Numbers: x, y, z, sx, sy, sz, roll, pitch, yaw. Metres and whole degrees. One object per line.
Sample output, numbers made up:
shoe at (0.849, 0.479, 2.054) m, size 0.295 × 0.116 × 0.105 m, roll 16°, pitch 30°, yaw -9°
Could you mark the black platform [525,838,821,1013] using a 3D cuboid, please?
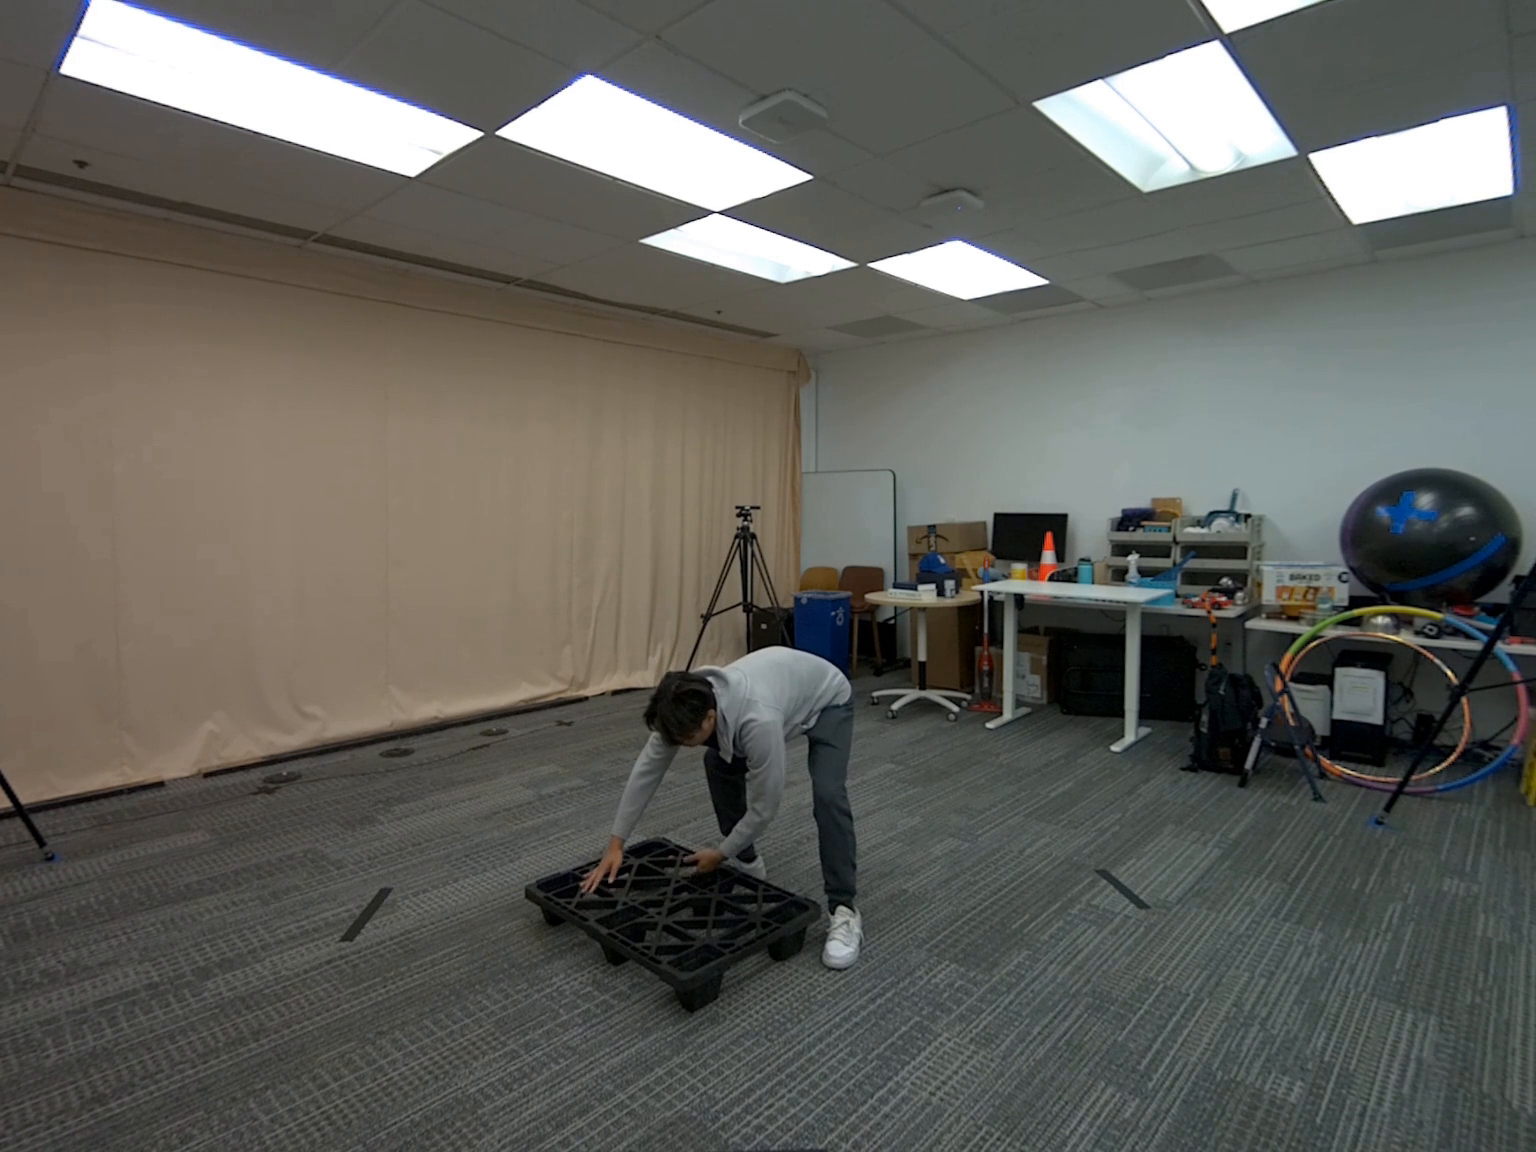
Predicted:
black platform at (-0.322, 1.101, 2.733) m, size 0.833 × 0.143 × 0.586 m, roll 4°, pitch 6°, yaw 44°
